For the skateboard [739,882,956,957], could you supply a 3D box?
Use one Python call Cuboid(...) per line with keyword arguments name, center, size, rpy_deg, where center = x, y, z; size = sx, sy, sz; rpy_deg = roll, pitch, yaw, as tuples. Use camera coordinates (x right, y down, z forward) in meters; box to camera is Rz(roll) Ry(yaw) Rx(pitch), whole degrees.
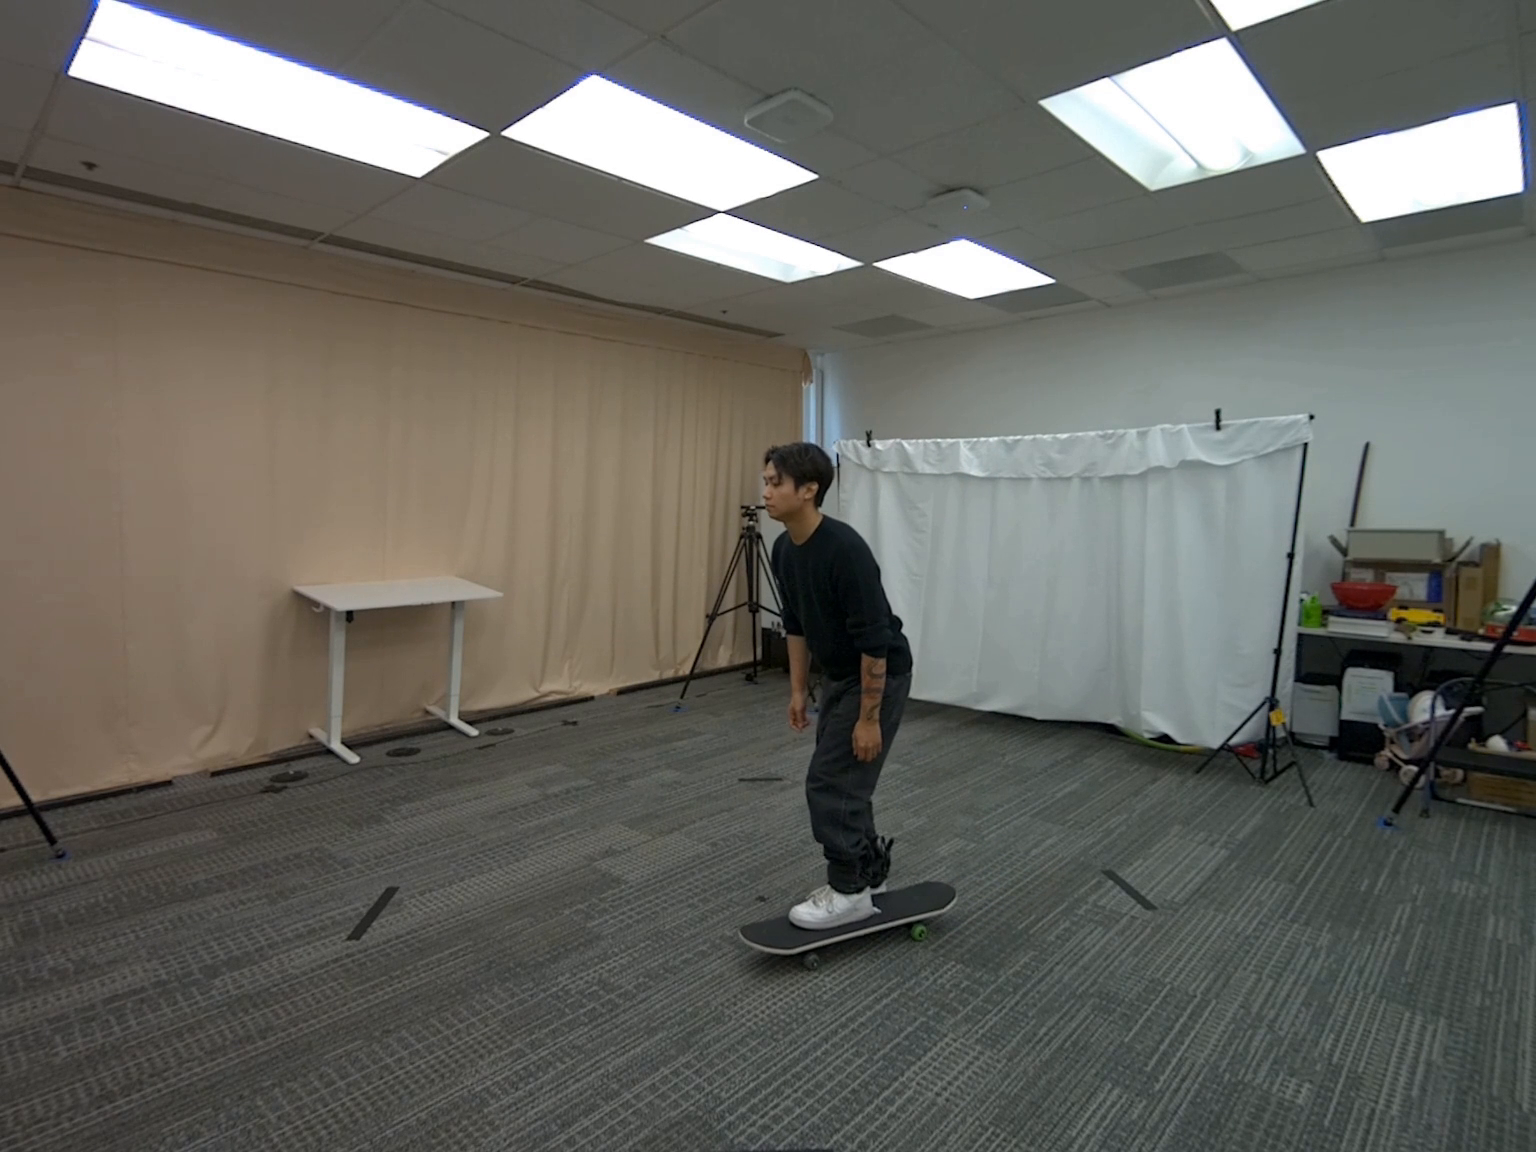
Cuboid(name="skateboard", center=(0.277, 1.116, 2.668), size=(0.767, 0.110, 0.198), rpy_deg=(-2, 5, -24))
